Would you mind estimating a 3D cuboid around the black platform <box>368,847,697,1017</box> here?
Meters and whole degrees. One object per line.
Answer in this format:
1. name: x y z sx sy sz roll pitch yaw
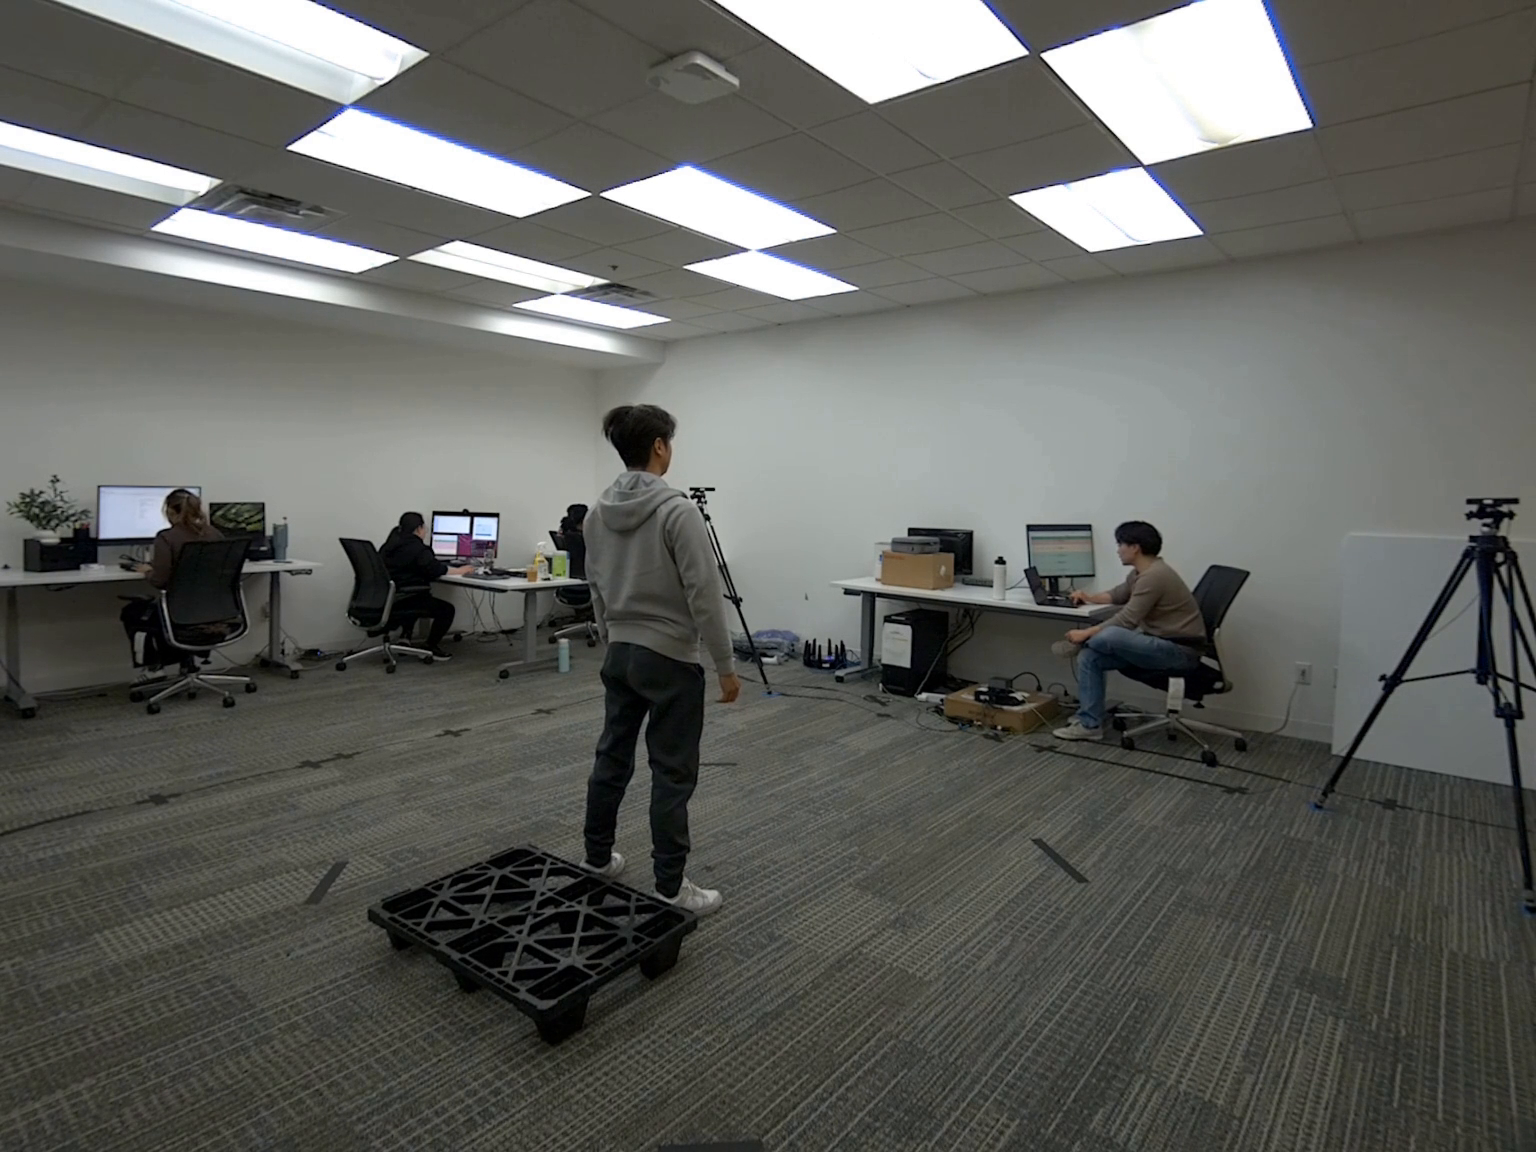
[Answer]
1. black platform: -0.702 1.047 2.523 0.832 0.143 0.588 5 7 36
